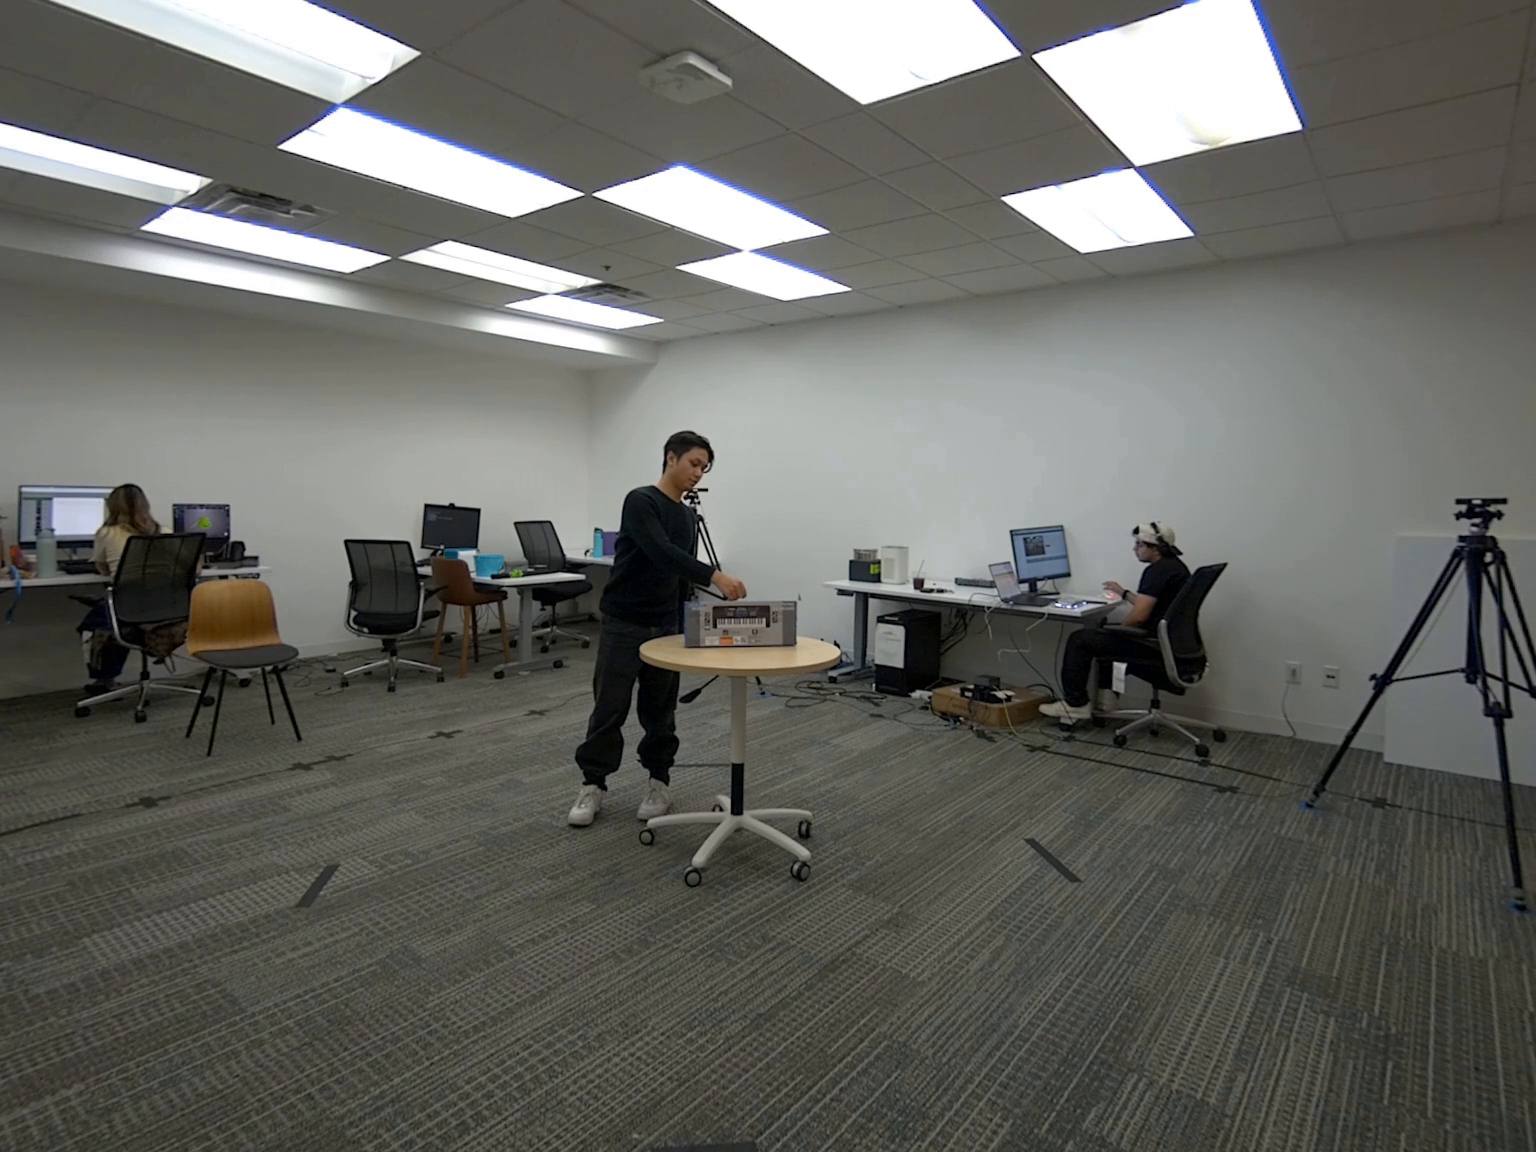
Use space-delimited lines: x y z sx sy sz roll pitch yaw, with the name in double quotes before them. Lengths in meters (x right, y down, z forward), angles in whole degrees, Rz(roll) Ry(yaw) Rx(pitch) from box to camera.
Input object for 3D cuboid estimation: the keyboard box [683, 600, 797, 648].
"keyboard box" -0.113 0.182 3.309 0.433 0.176 0.059 0 -3 -9
